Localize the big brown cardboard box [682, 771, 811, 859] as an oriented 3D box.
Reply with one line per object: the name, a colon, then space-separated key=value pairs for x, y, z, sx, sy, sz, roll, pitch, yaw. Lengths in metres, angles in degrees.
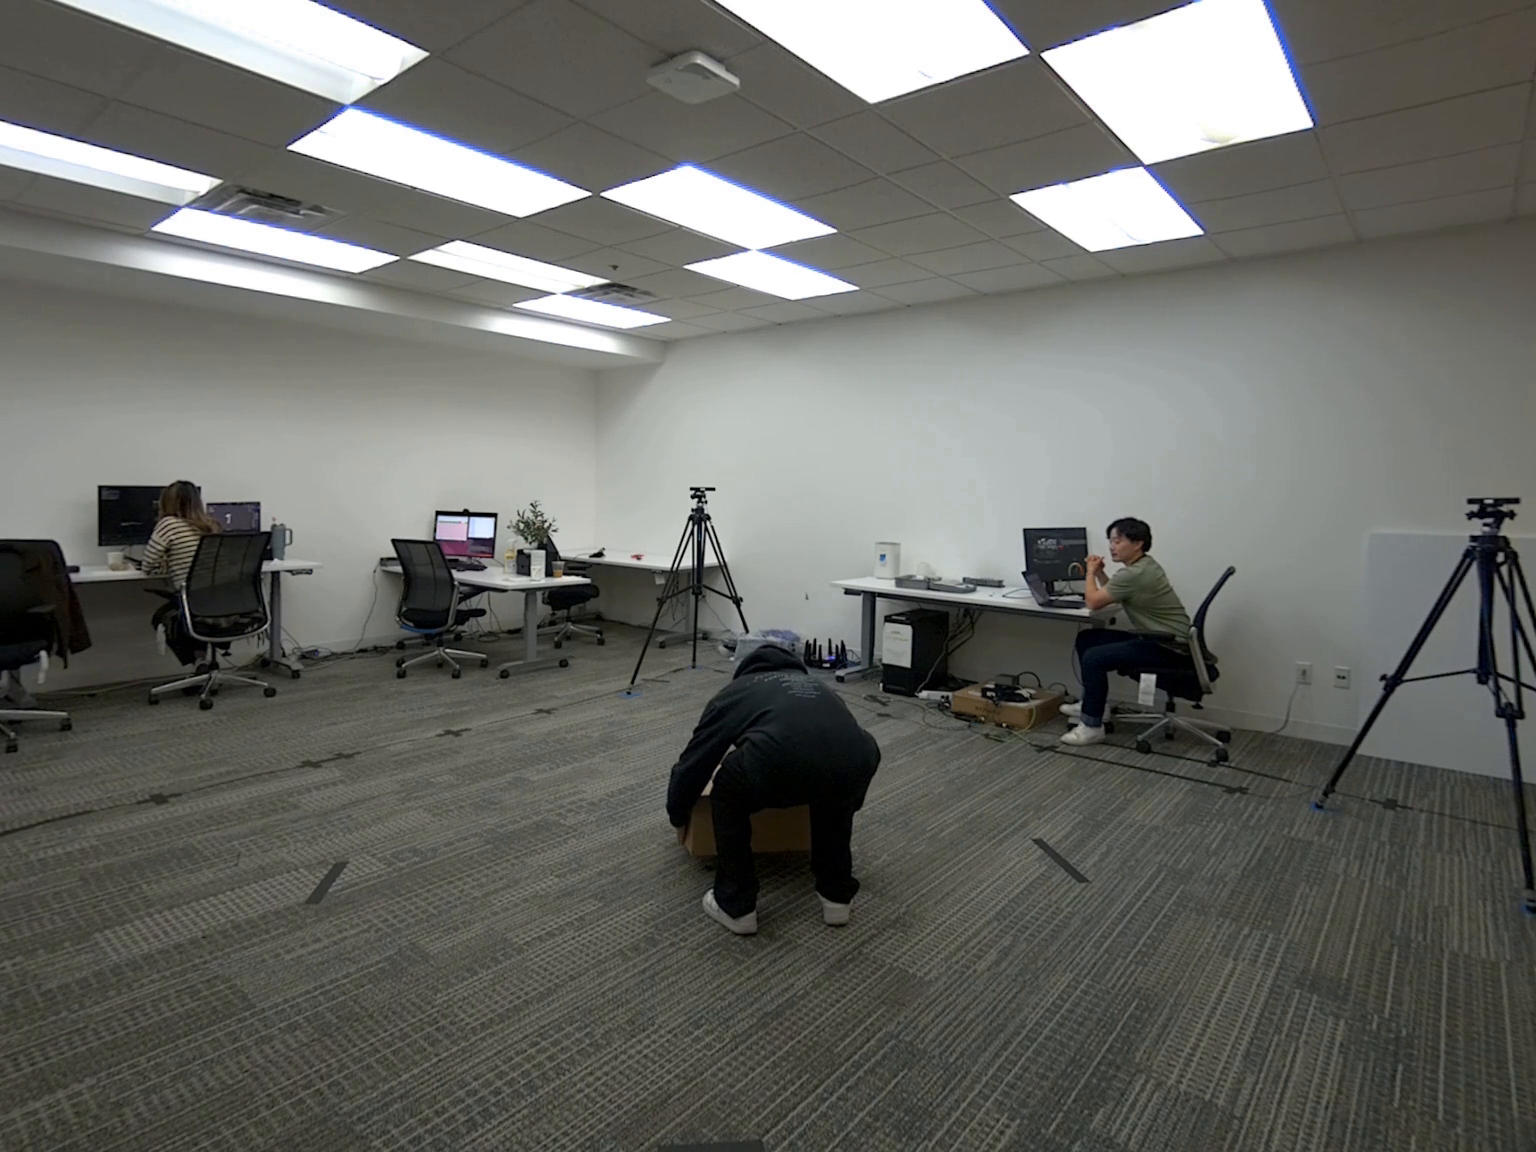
big brown cardboard box: x=-0.061 y=0.873 z=3.244 sx=0.581 sy=0.233 sz=0.423 roll=2 pitch=1 yaw=-13
